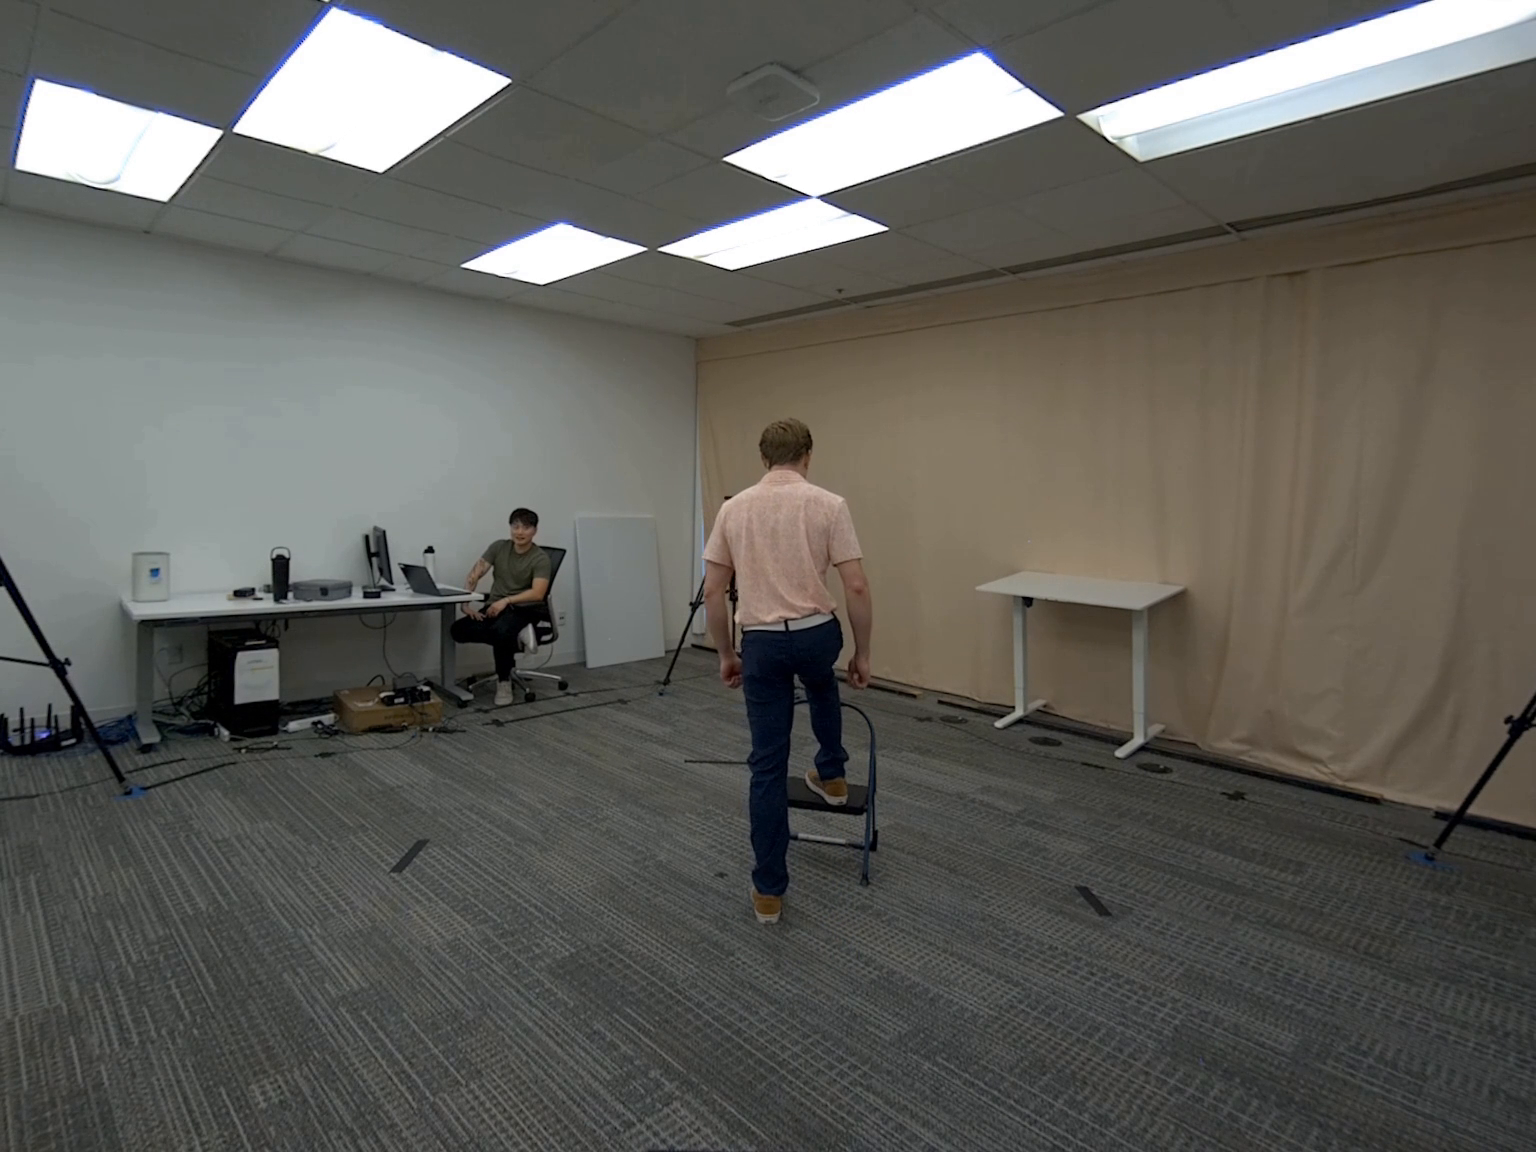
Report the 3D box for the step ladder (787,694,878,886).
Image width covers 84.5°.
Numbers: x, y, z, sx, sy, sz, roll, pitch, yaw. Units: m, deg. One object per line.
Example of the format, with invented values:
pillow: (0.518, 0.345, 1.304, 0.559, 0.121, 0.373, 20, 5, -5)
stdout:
step ladder: (0.204, 0.800, 3.255, 0.436, 0.605, 0.345, 2, 3, 15)
